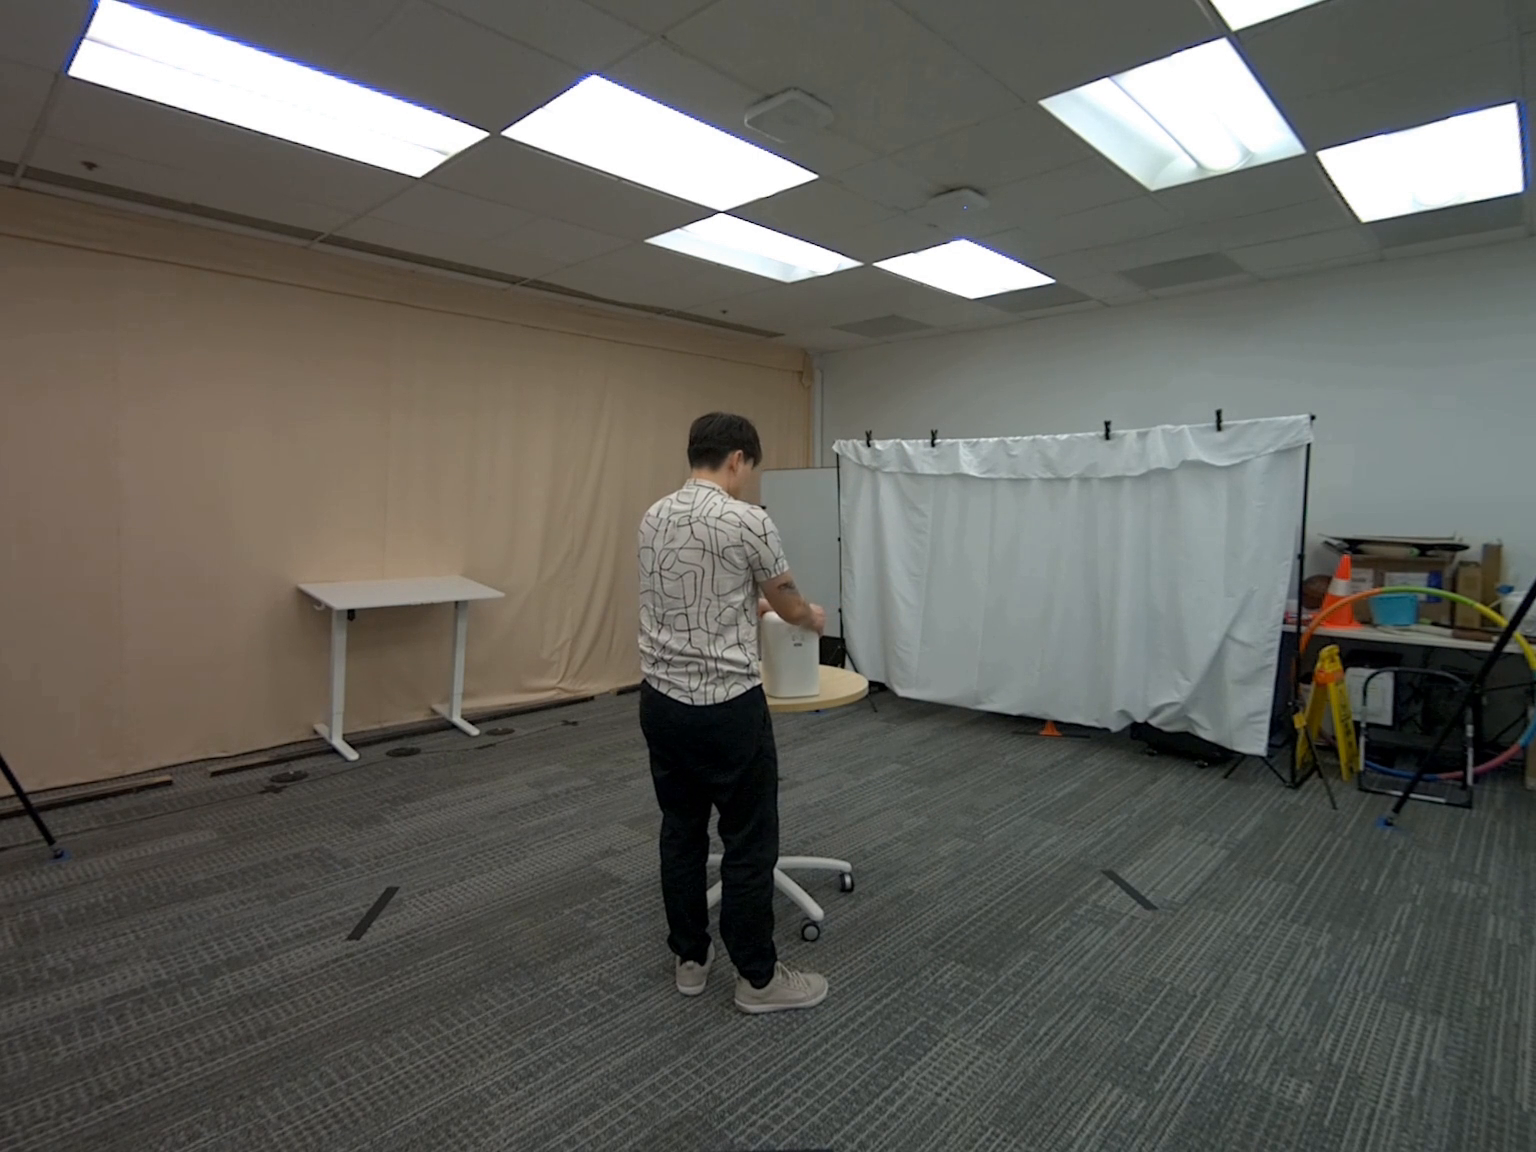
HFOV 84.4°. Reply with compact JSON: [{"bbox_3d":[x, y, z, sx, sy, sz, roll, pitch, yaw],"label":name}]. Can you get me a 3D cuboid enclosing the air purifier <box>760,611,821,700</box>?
[{"bbox_3d":[0.074,0.248,2.735,0.169,0.264,0.174,-4,5,-9],"label":"air purifier"}]
